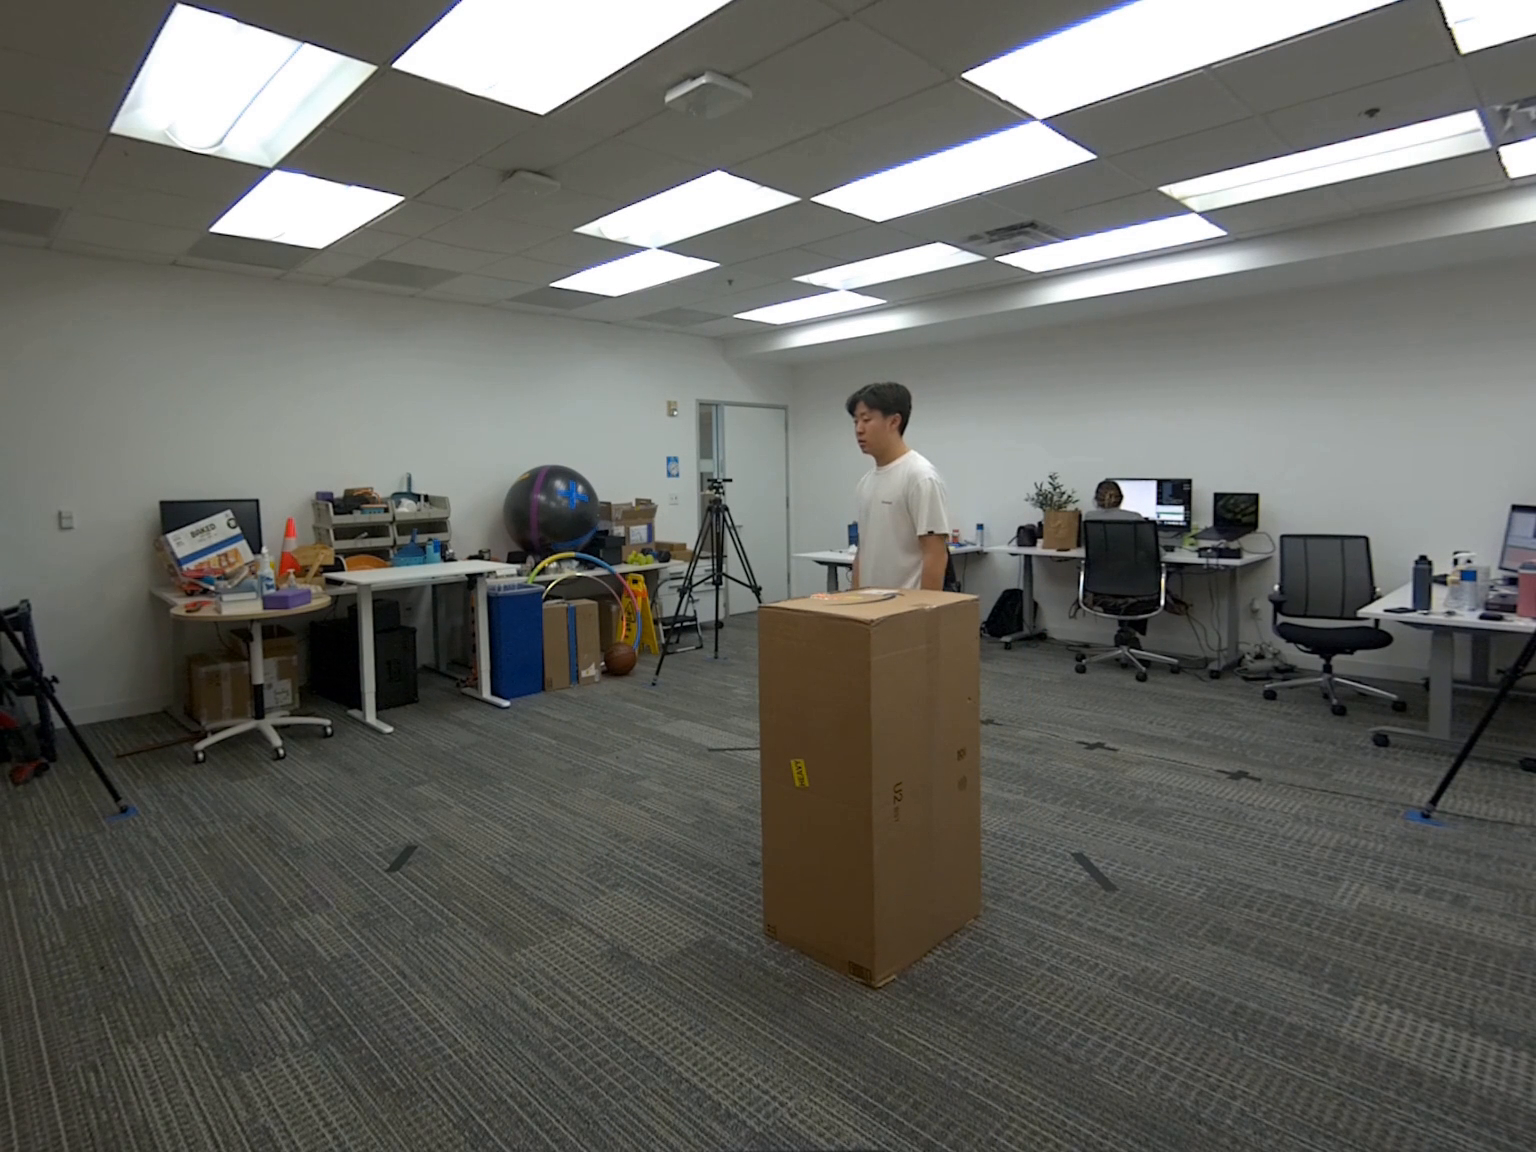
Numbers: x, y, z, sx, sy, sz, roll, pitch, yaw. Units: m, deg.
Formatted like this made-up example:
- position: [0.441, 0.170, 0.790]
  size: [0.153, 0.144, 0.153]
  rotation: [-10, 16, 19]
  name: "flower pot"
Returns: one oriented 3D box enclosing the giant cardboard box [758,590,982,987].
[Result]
- position: [0.325, 0.583, 2.643]
  size: [0.439, 1.022, 0.562]
  rotation: [2, 5, 45]
  name: "giant cardboard box"
